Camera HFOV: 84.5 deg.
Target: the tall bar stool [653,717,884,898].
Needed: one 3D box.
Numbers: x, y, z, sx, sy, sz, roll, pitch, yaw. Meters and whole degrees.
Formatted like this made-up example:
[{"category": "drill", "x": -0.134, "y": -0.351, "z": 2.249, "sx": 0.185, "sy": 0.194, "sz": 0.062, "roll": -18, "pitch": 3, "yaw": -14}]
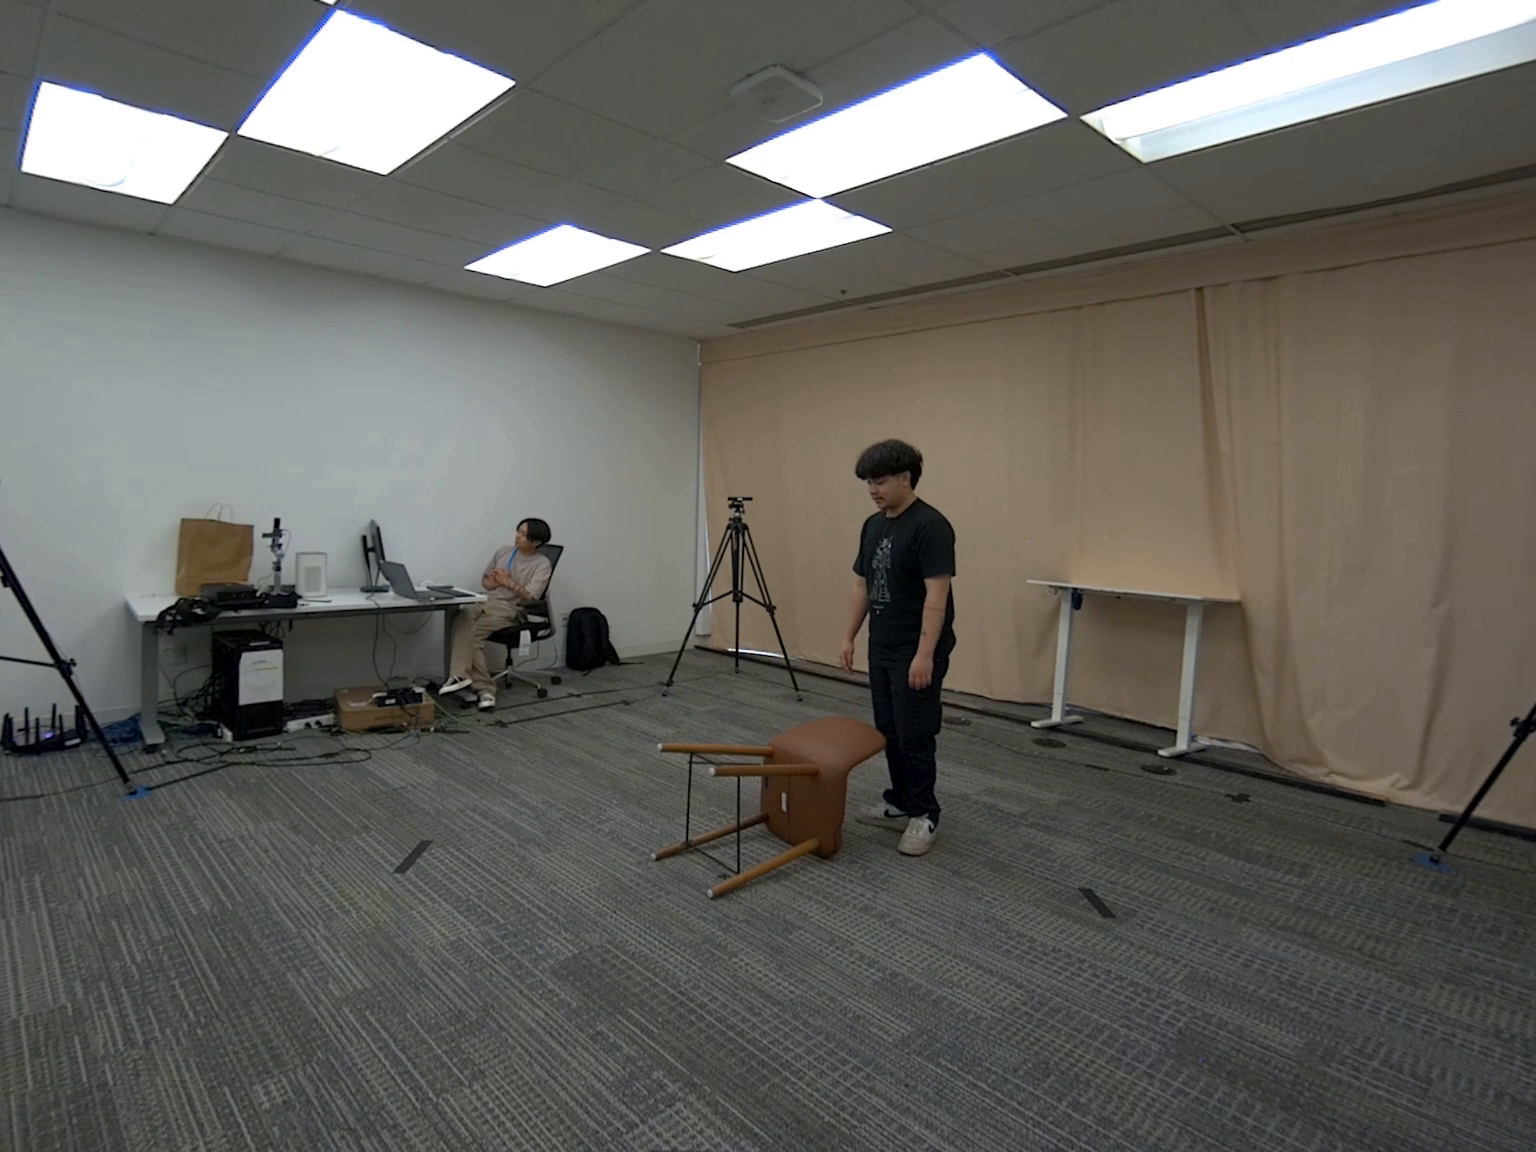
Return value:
[{"category": "tall bar stool", "x": 0.018, "y": 0.865, "z": 3.323, "sx": 0.870, "sy": 0.466, "sz": 0.468, "roll": -3, "pitch": 5, "yaw": -38}]
